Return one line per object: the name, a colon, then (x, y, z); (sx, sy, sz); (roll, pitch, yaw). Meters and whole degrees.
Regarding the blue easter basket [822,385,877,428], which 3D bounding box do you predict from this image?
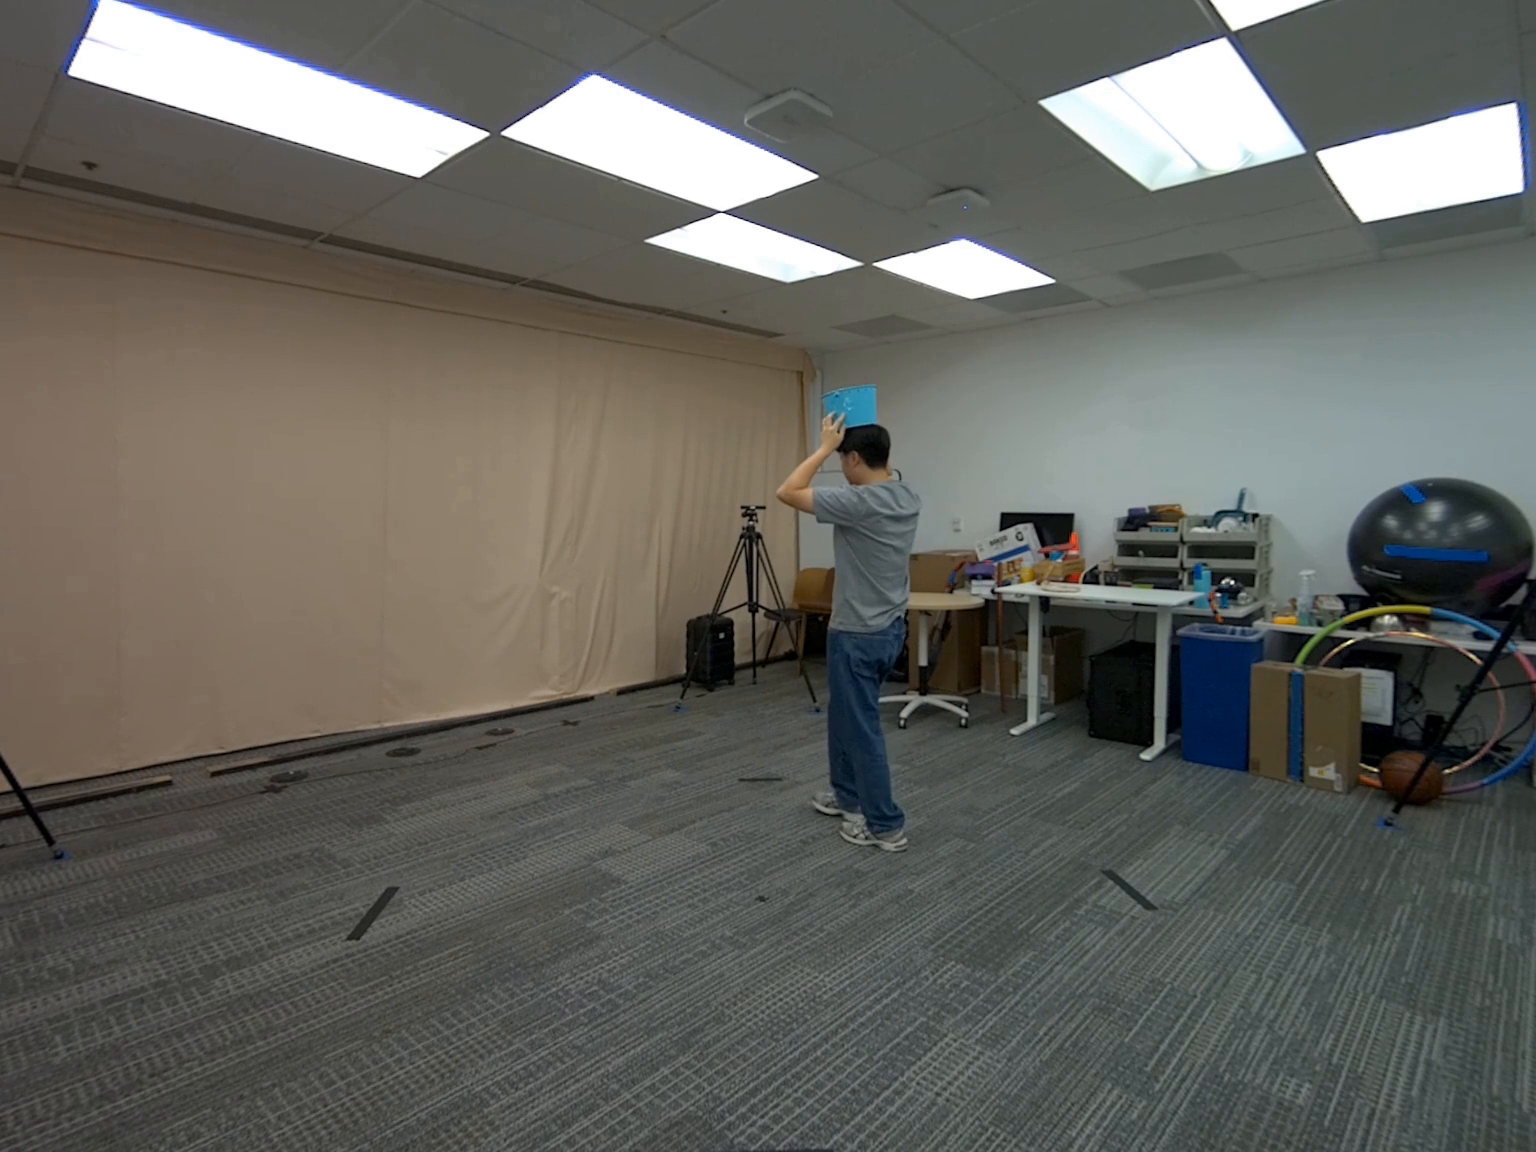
blue easter basket: (0.343, -0.678, 3.451); (0.243, 0.156, 0.244); (-9, 2, -2)
